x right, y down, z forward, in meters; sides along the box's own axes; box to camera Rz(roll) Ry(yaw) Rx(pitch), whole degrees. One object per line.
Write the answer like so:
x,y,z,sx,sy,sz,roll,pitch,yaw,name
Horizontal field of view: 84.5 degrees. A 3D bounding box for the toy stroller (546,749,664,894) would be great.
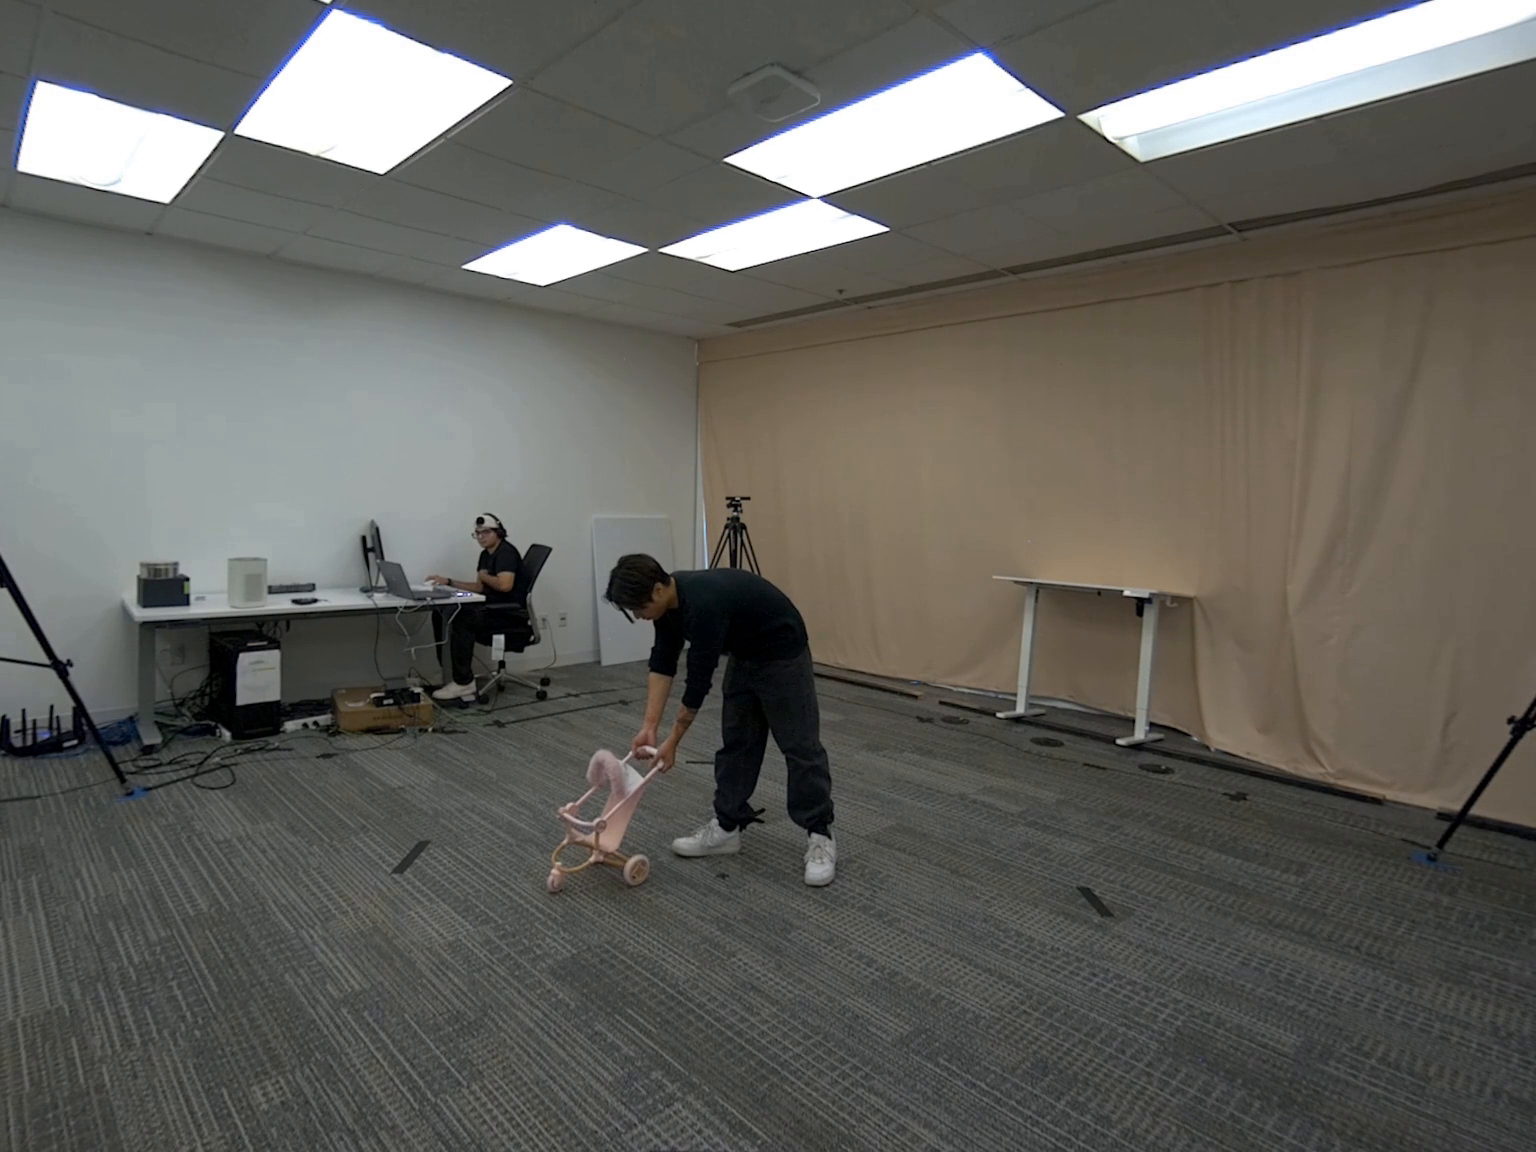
-0.607,0.875,3.056,0.332,0.537,0.288,17,-7,-37,toy stroller
